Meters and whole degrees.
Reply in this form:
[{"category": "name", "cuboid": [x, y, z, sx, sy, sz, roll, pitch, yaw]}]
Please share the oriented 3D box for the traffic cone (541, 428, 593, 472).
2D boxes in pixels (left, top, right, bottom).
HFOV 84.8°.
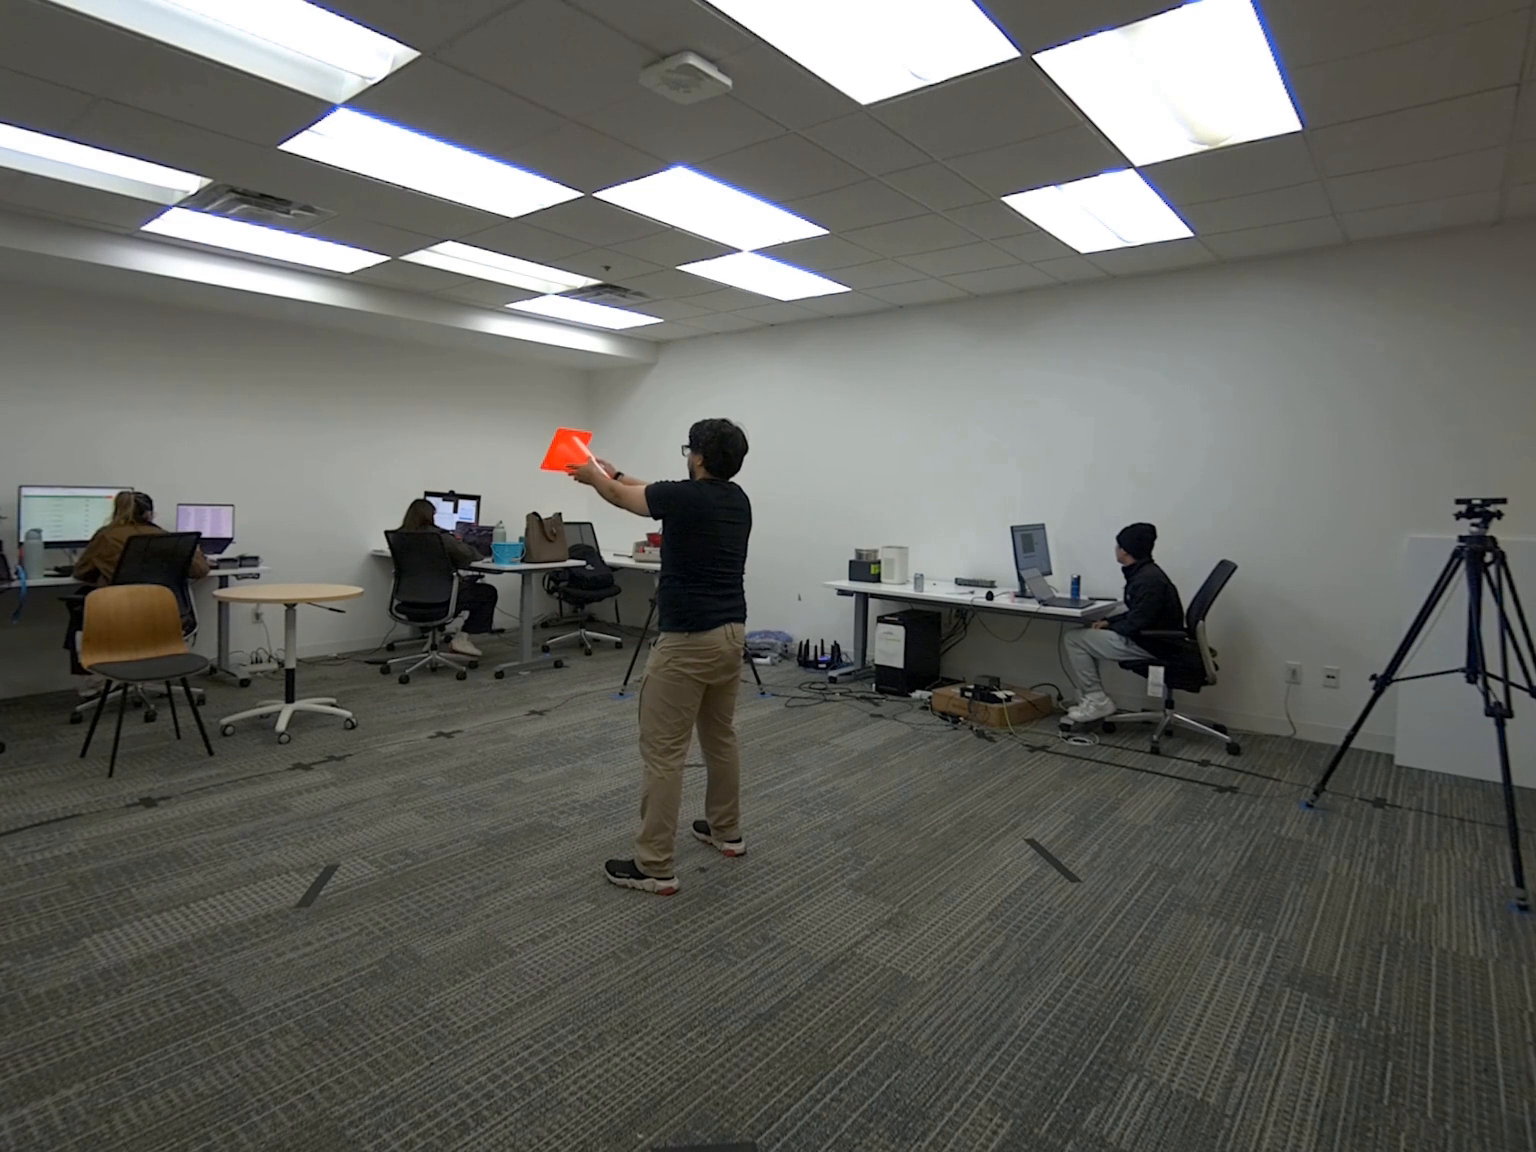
[{"category": "traffic cone", "cuboid": [-0.725, -0.417, 3.466, 0.398, 0.202, 0.199, 40, 22, 28]}]
